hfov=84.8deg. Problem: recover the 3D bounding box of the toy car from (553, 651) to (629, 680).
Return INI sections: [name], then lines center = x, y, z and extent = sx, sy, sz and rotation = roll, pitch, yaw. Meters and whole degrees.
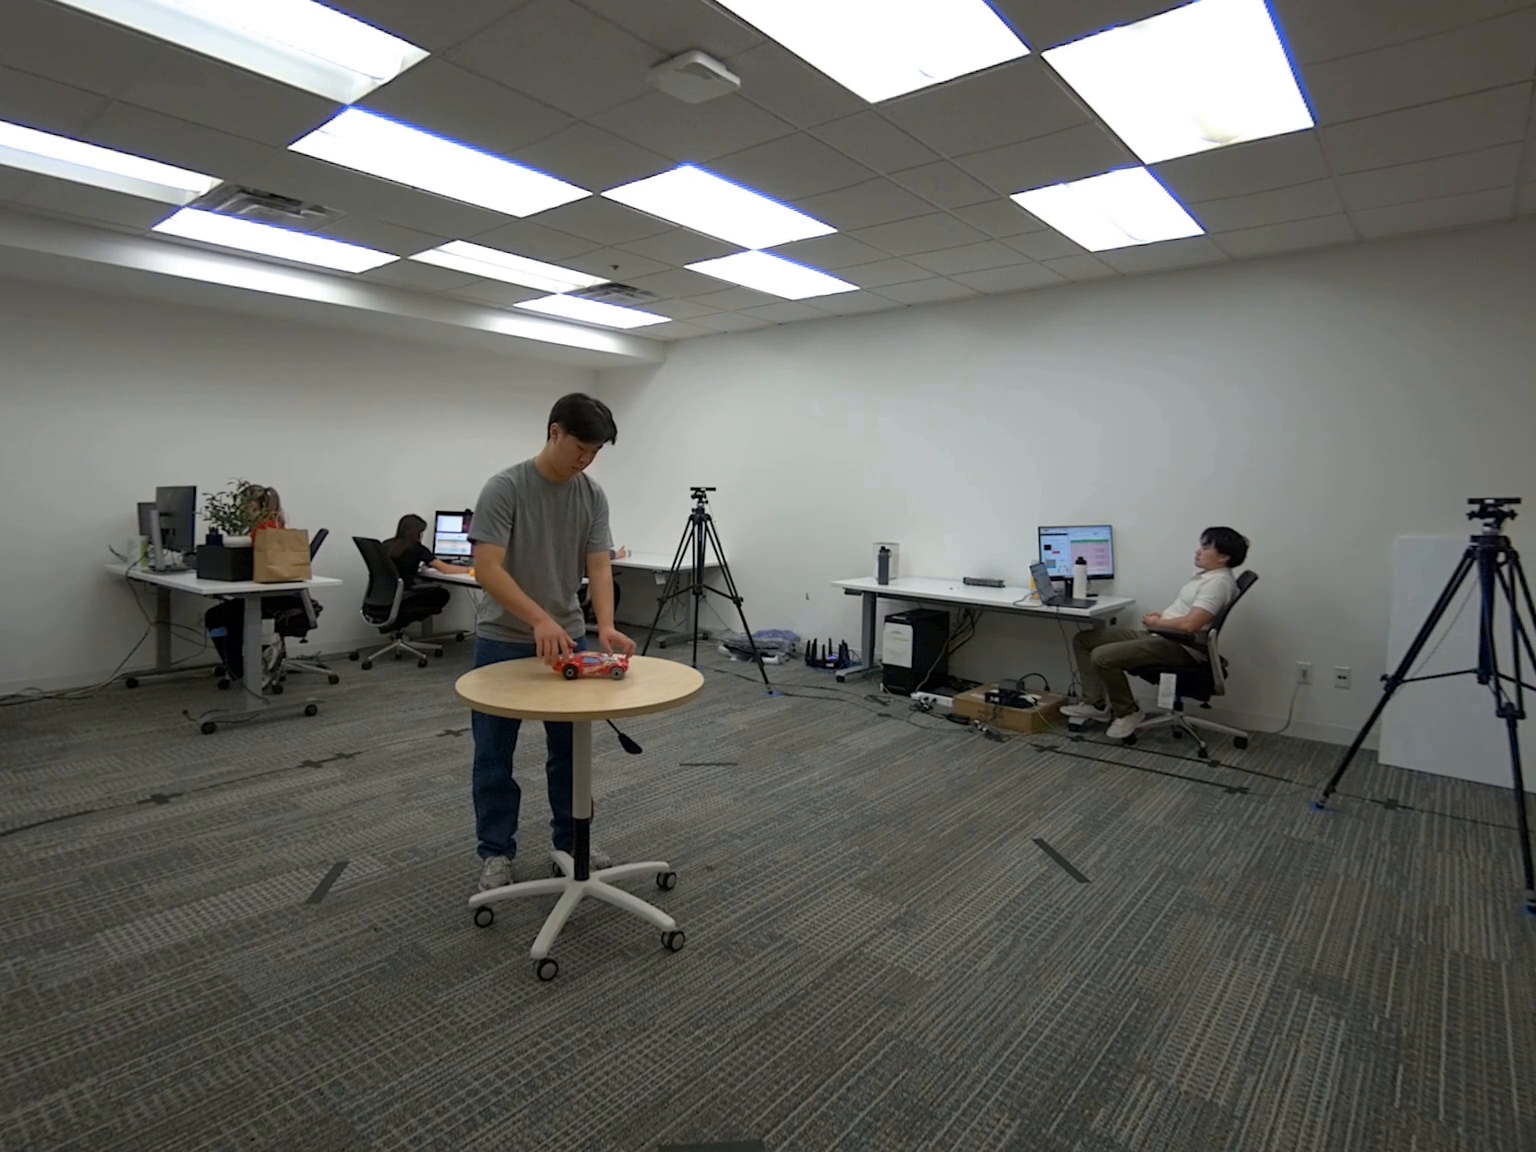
[toy car]
center = -0.586, 0.286, 2.702
extent = 0.253, 0.083, 0.131
rotation = 11, 4, -5
